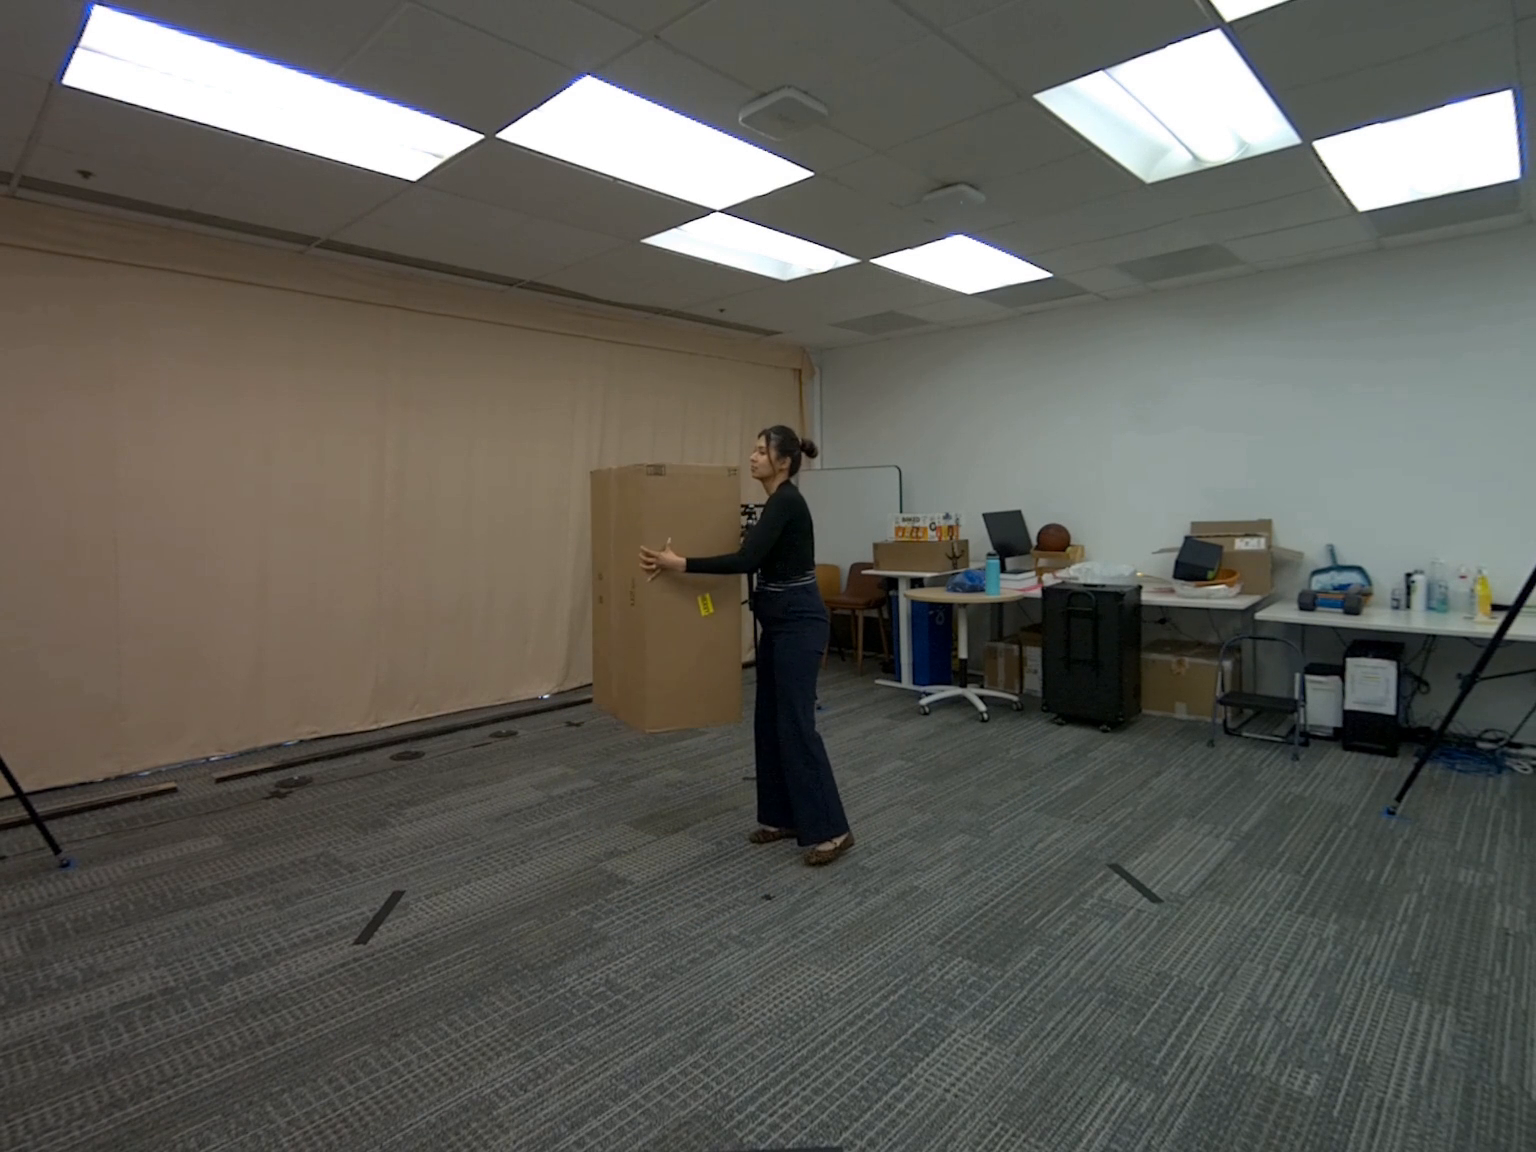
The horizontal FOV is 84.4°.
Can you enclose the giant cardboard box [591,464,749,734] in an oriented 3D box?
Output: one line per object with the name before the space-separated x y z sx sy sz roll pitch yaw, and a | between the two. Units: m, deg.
giant cardboard box | -0.428 0.065 3.497 0.415 1.024 0.594 -1 2 -30
